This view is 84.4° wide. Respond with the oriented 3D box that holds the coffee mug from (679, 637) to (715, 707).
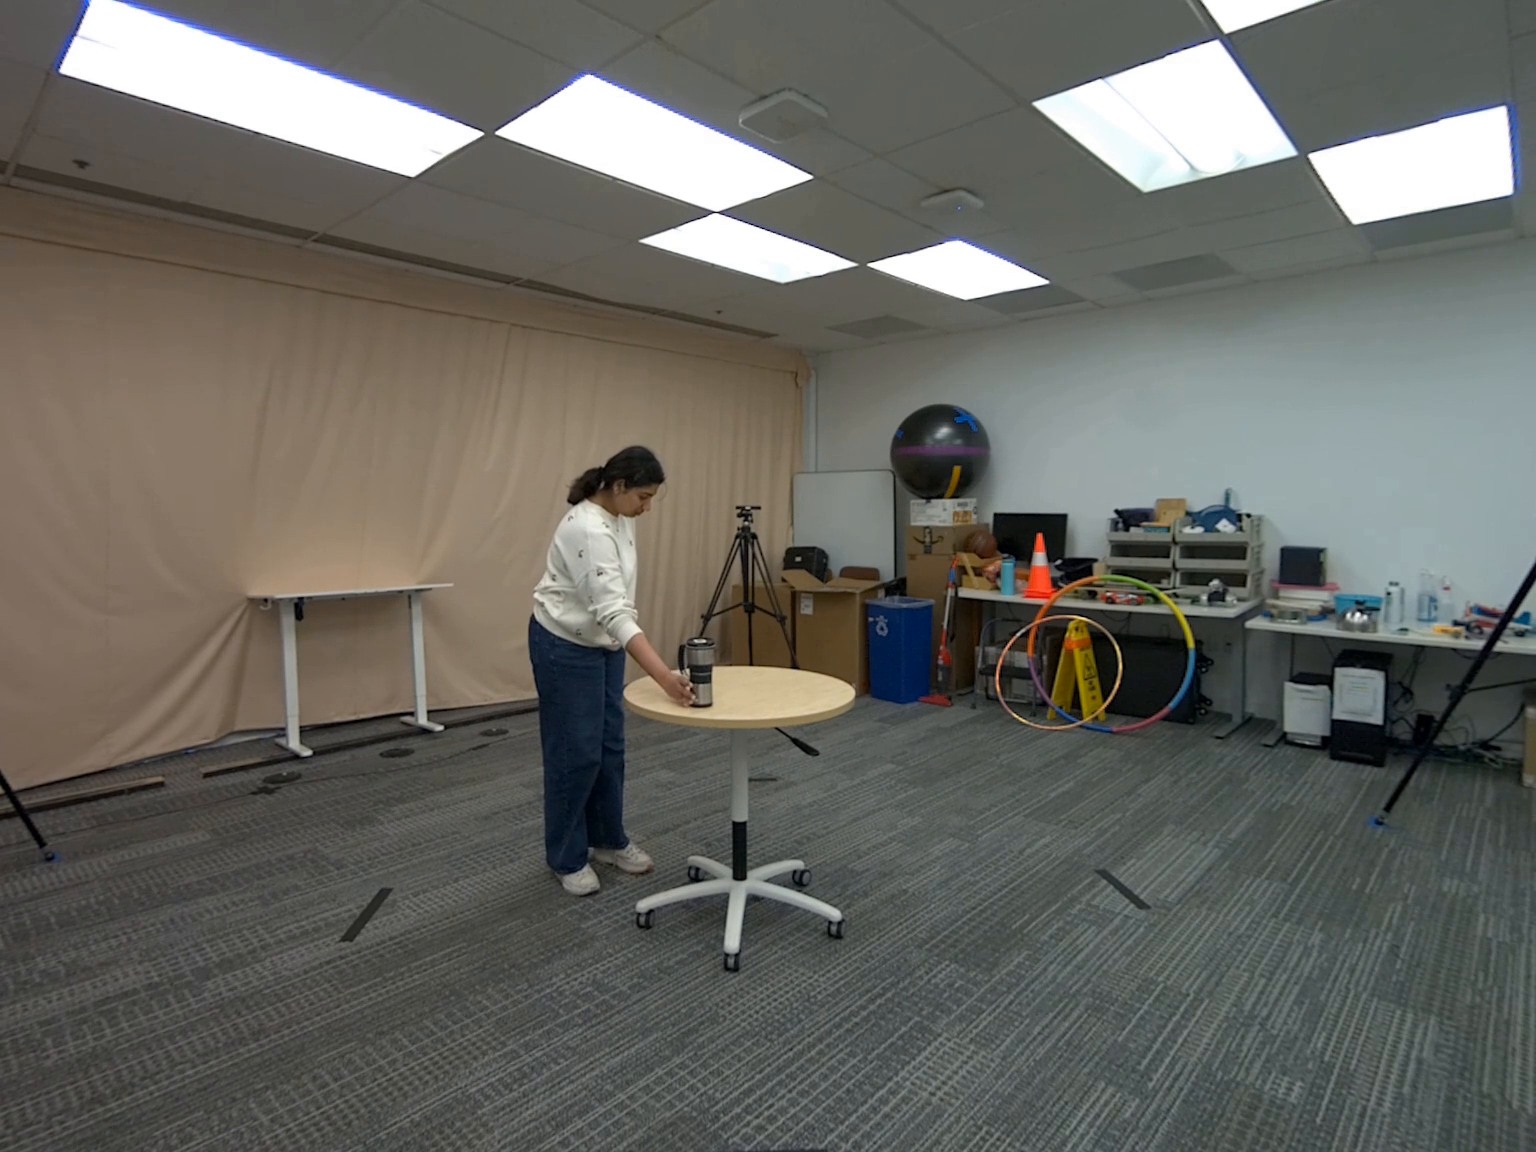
[{"bbox_3d":[-0.195,0.302,2.551,0.085,0.203,0.125,-2,0,-33],"label":"coffee mug"}]
